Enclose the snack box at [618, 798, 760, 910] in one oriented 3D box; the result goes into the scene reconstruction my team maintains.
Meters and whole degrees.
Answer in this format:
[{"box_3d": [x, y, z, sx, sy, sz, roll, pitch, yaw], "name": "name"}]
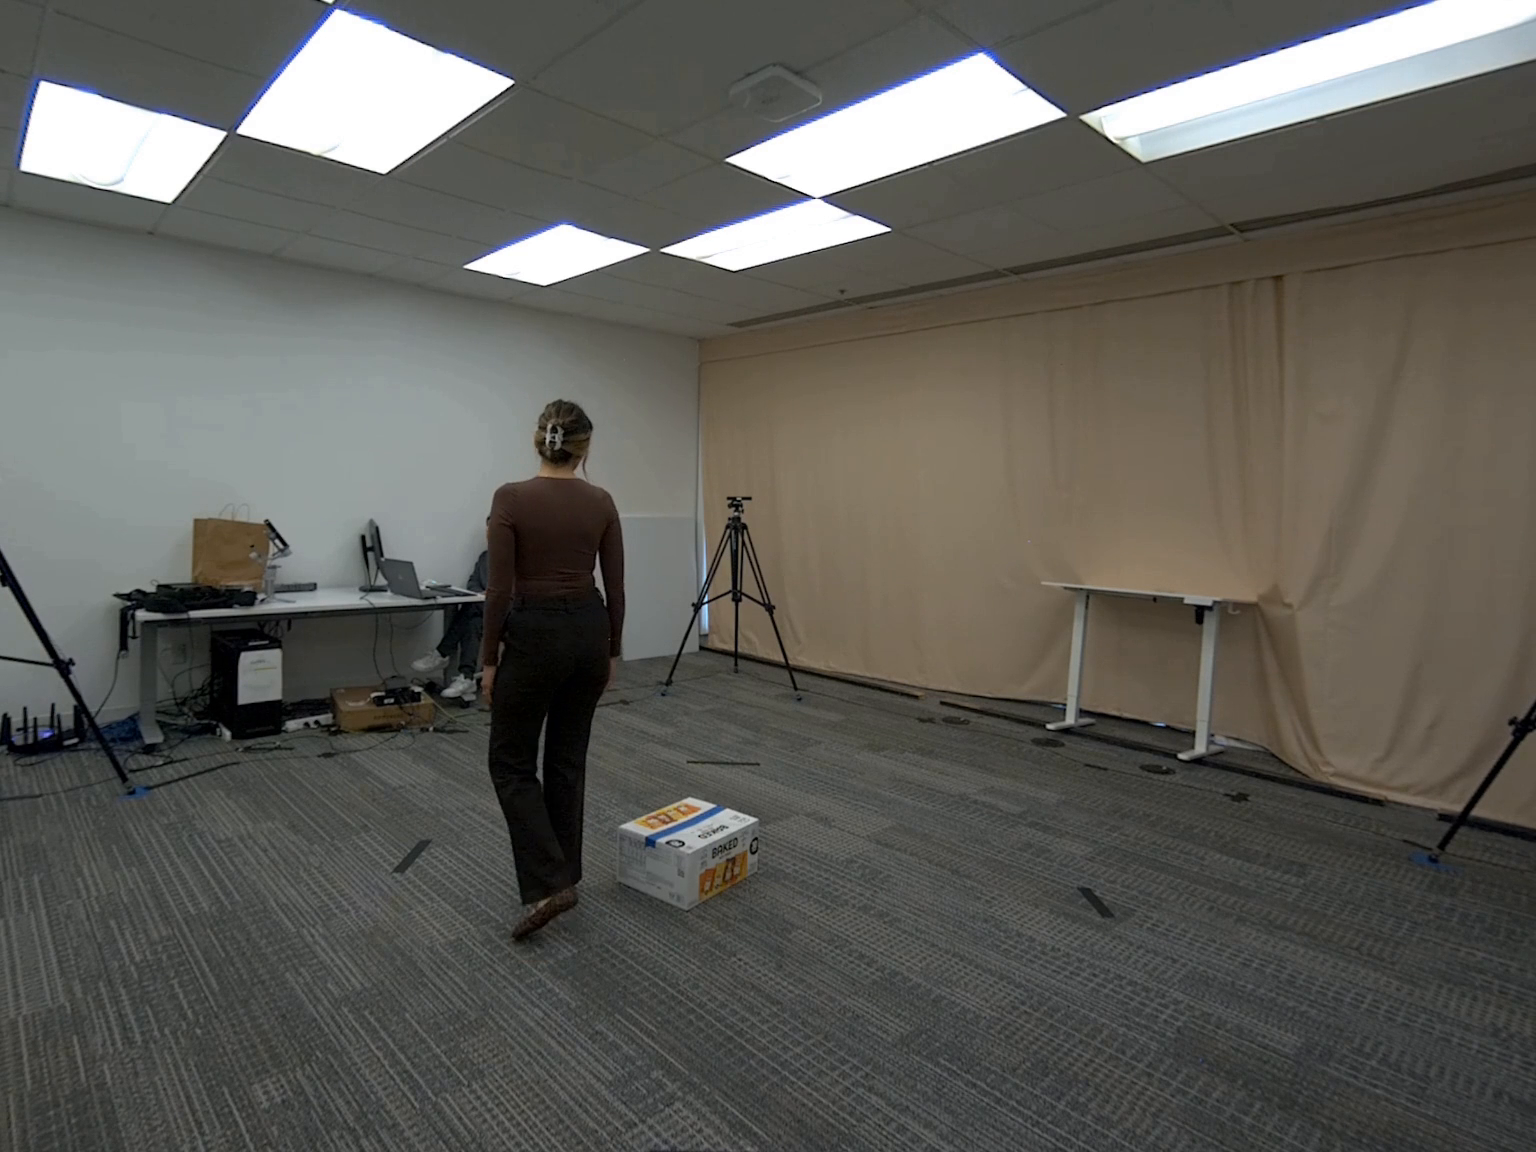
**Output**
[{"box_3d": [-0.299, 1.004, 3.077, 0.349, 0.205, 0.396, 5, 6, 37], "name": "snack box"}]
